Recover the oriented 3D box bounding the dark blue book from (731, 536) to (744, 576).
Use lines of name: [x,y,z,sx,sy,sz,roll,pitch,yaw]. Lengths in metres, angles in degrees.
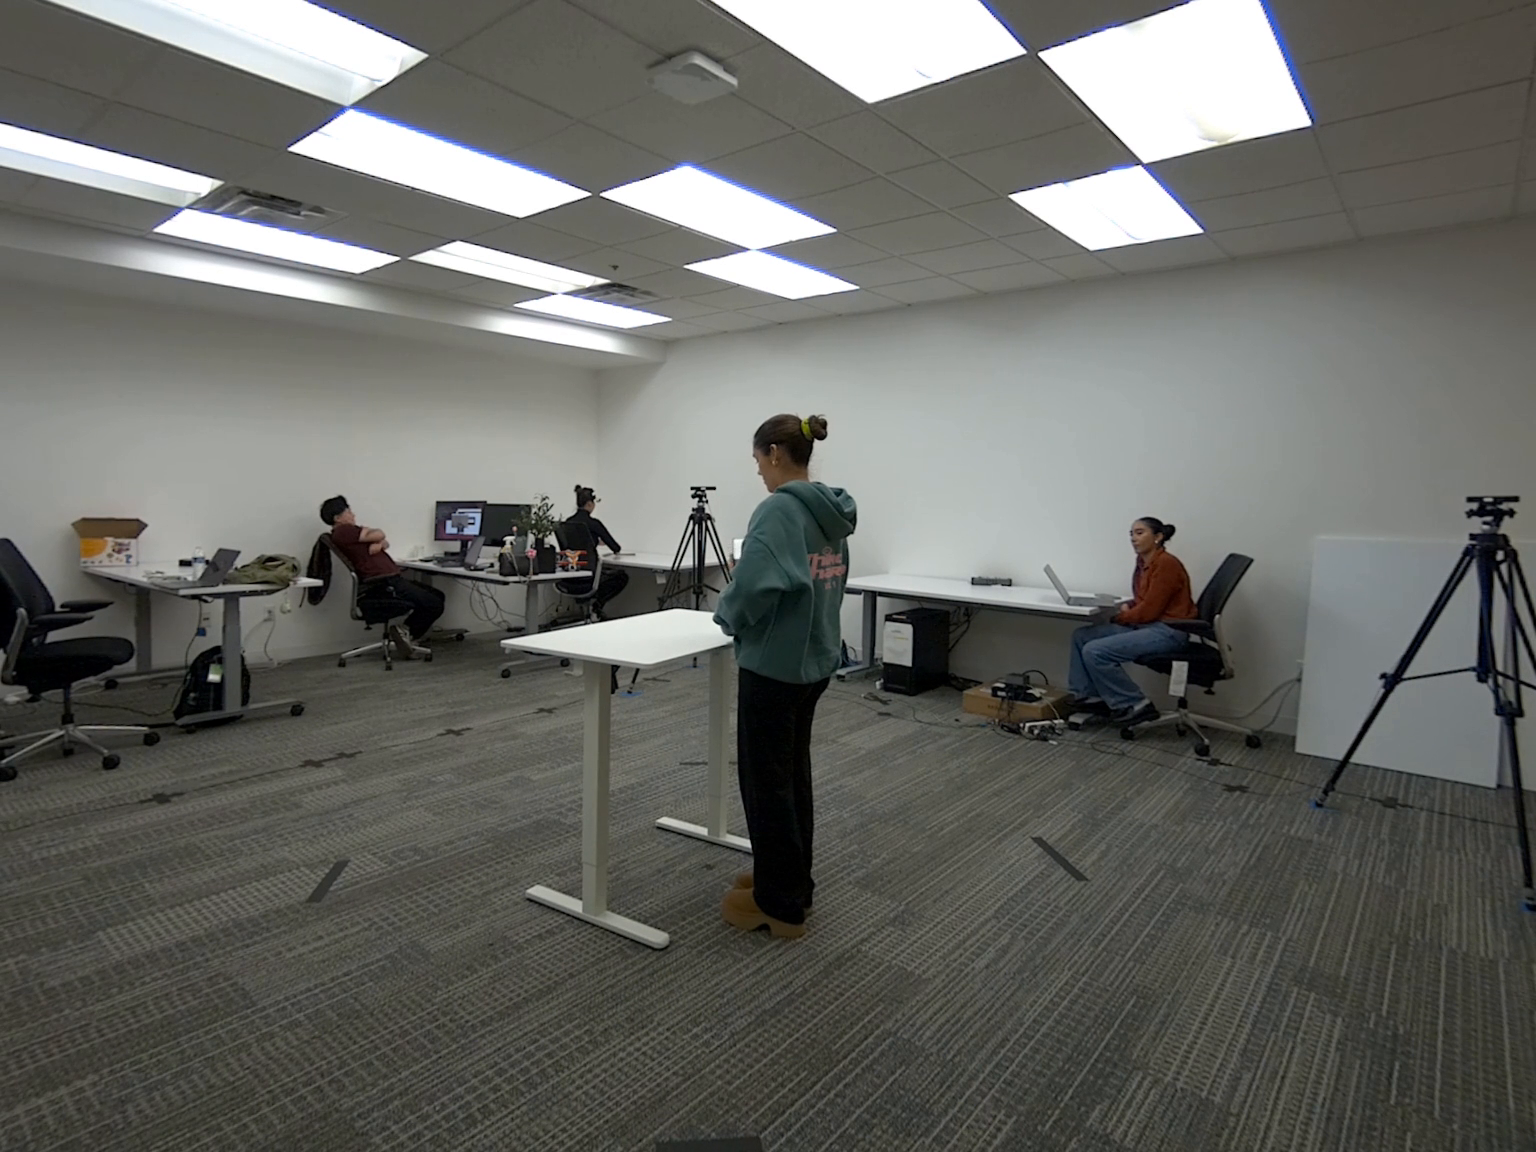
dark blue book: [-0.091,-0.020,2.757,0.045,0.161,0.248,1,16,1]
